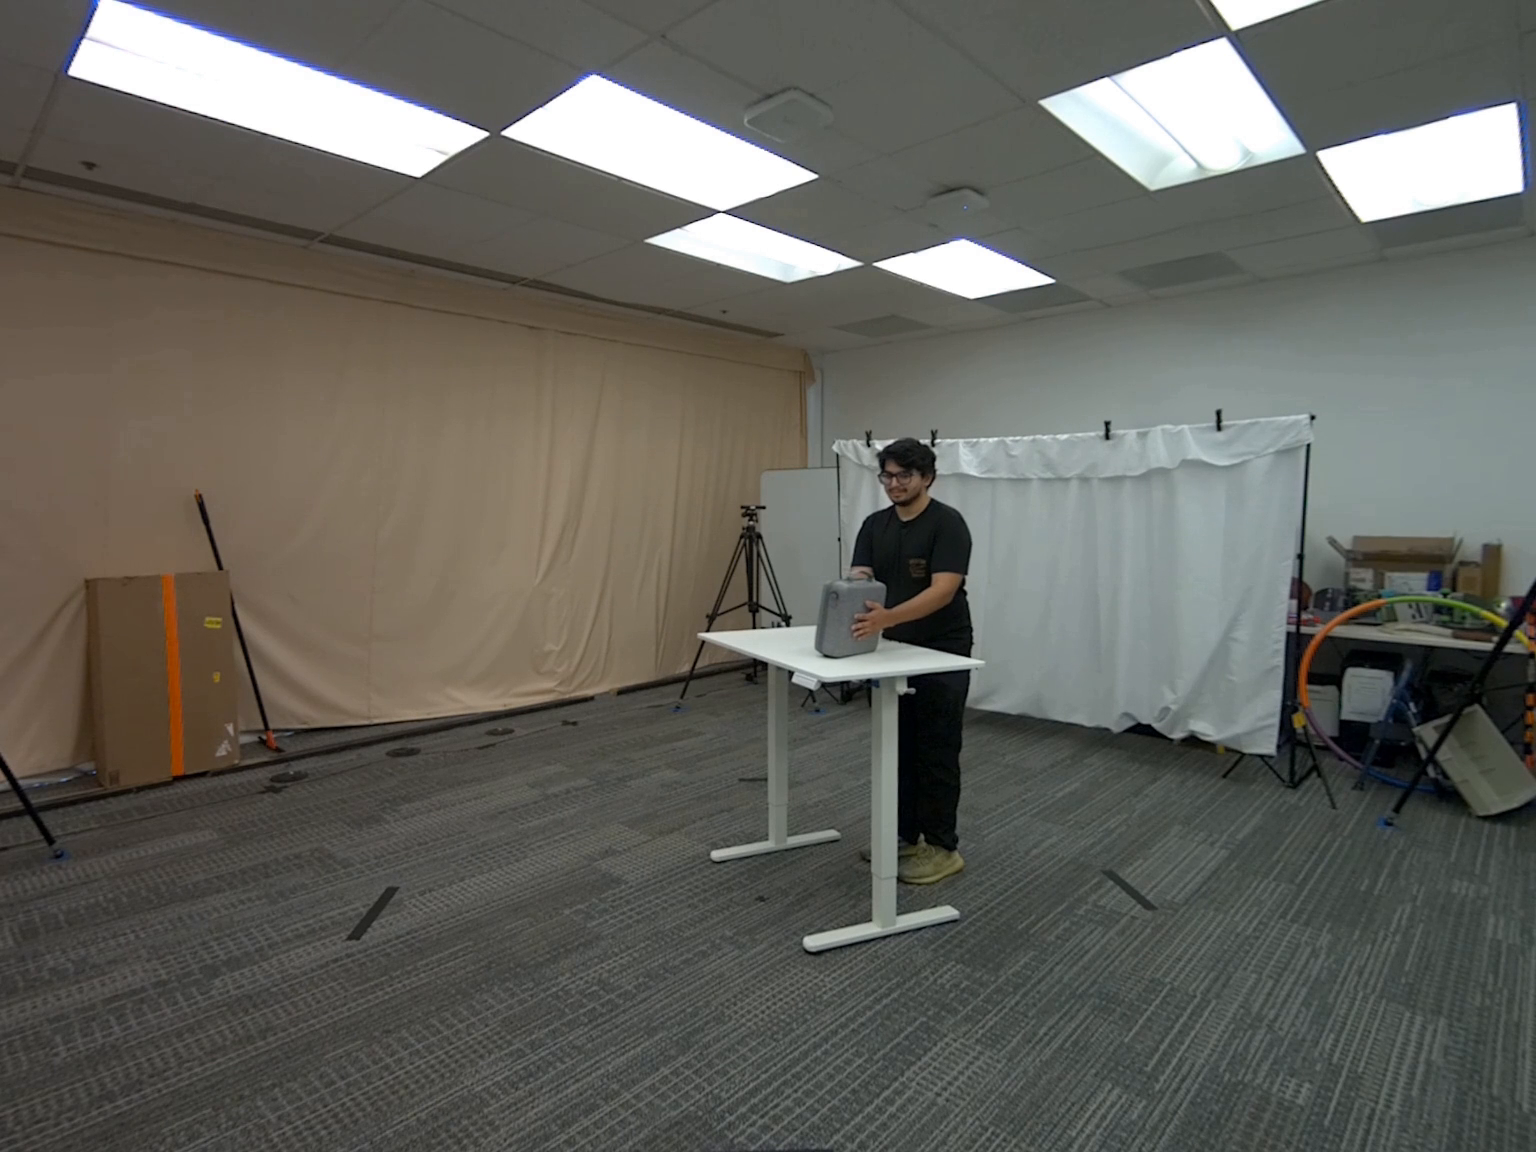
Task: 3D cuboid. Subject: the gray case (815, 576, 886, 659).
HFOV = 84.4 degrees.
[{"bbox_3d":[0.289,0.138,2.855,0.249,0.259,0.108,-1,12,-44],"label":"gray case"}]
